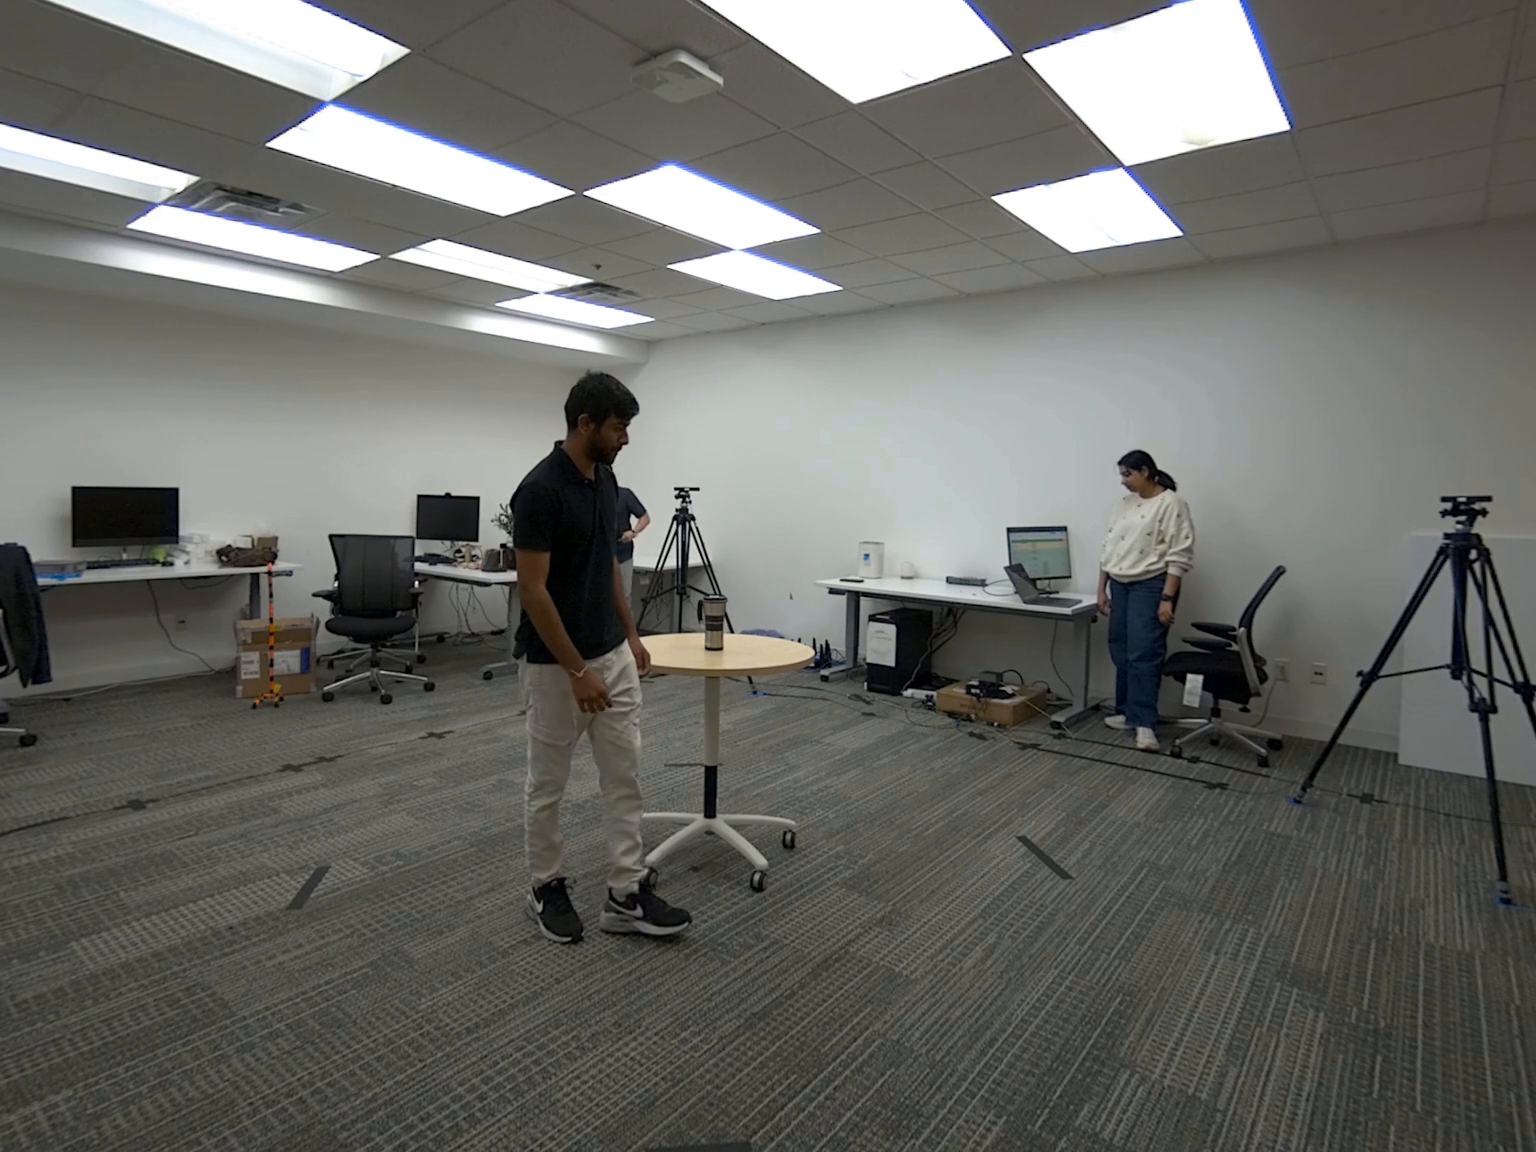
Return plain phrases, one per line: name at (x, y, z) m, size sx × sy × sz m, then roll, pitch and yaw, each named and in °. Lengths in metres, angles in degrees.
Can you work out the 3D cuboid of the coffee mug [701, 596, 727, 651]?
coffee mug at (-0.223, 0.174, 3.224) m, size 0.085 × 0.201 × 0.126 m, roll -3°, pitch 9°, yaw -33°
